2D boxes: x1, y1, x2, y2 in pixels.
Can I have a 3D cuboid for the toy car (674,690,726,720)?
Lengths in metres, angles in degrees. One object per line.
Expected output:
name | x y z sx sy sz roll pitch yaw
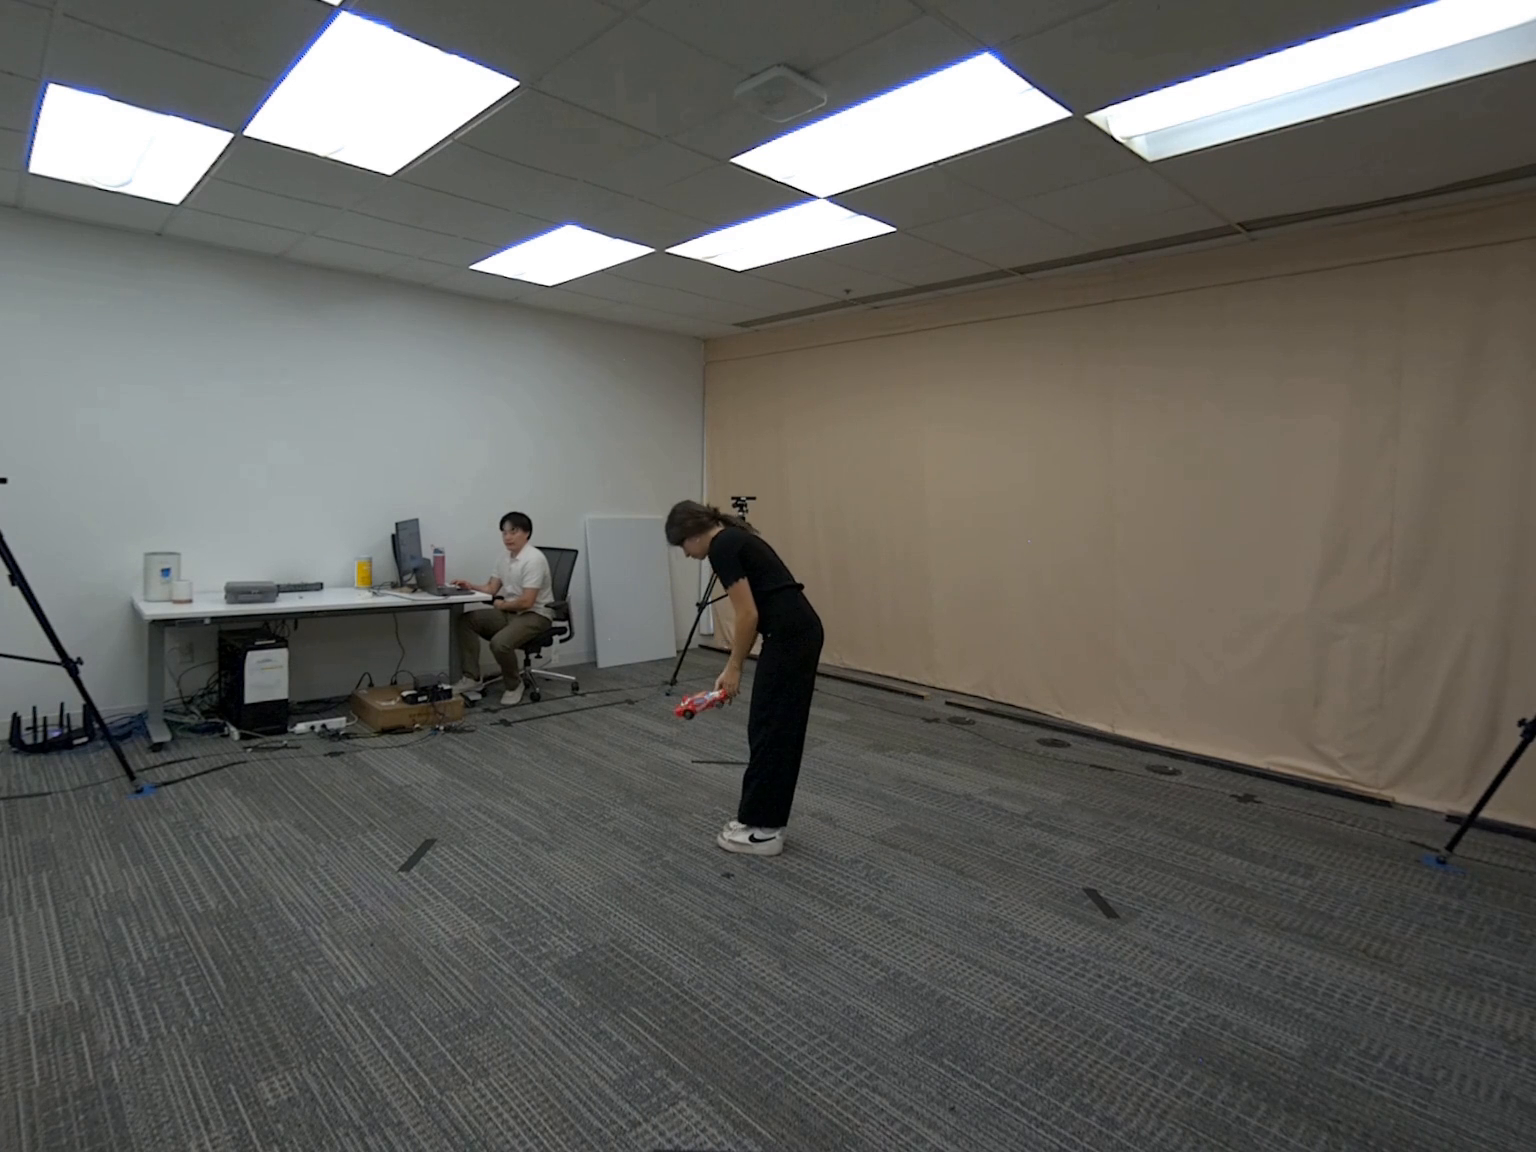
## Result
toy car | -0.287 0.530 3.527 0.258 0.082 0.130 -9 12 21
